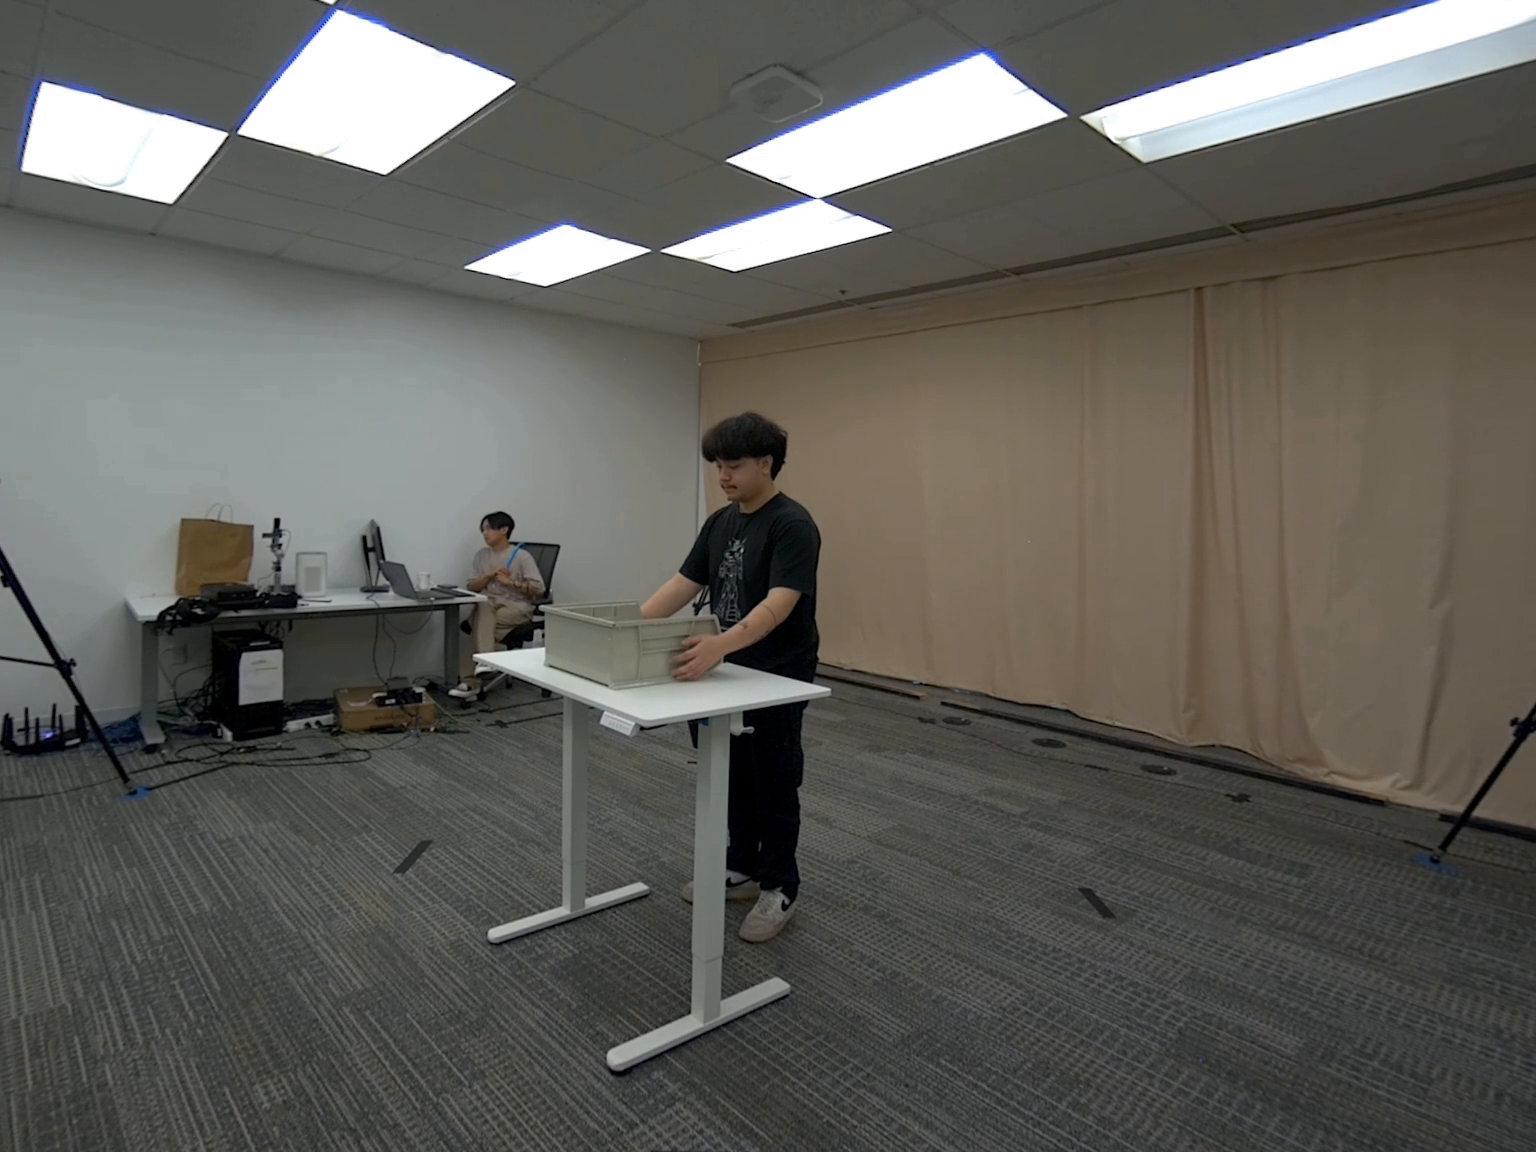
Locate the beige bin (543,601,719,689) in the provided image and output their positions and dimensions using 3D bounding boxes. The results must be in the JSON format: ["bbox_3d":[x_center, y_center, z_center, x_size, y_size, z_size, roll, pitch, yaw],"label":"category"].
[{"bbox_3d":[-0.419,0.194,2.453,0.369,0.188,0.433,-3,7,-38],"label":"beige bin"}]
